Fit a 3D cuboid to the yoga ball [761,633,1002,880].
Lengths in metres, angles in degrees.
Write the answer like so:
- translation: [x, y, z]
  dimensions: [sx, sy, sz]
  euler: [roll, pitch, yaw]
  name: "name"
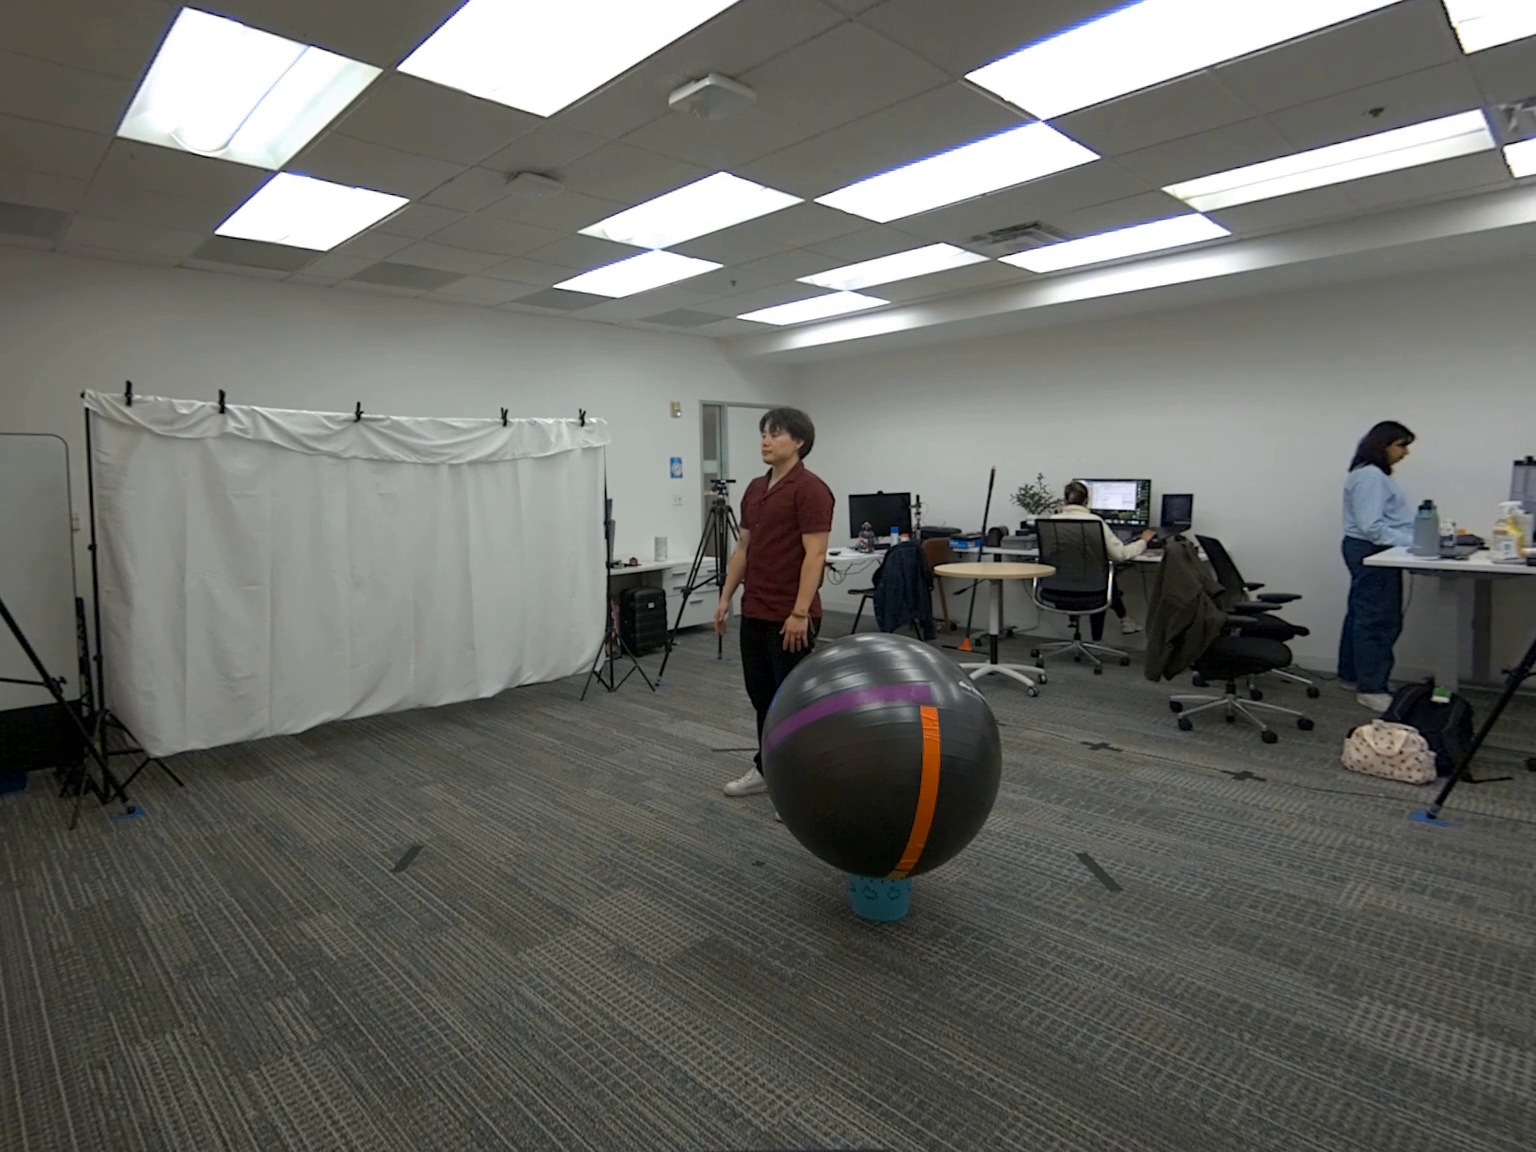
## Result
- translation: [0.364, 0.575, 2.737]
  dimensions: [0.757, 0.755, 0.762]
  euler: [-1, 5, -2]
  name: "yoga ball"
